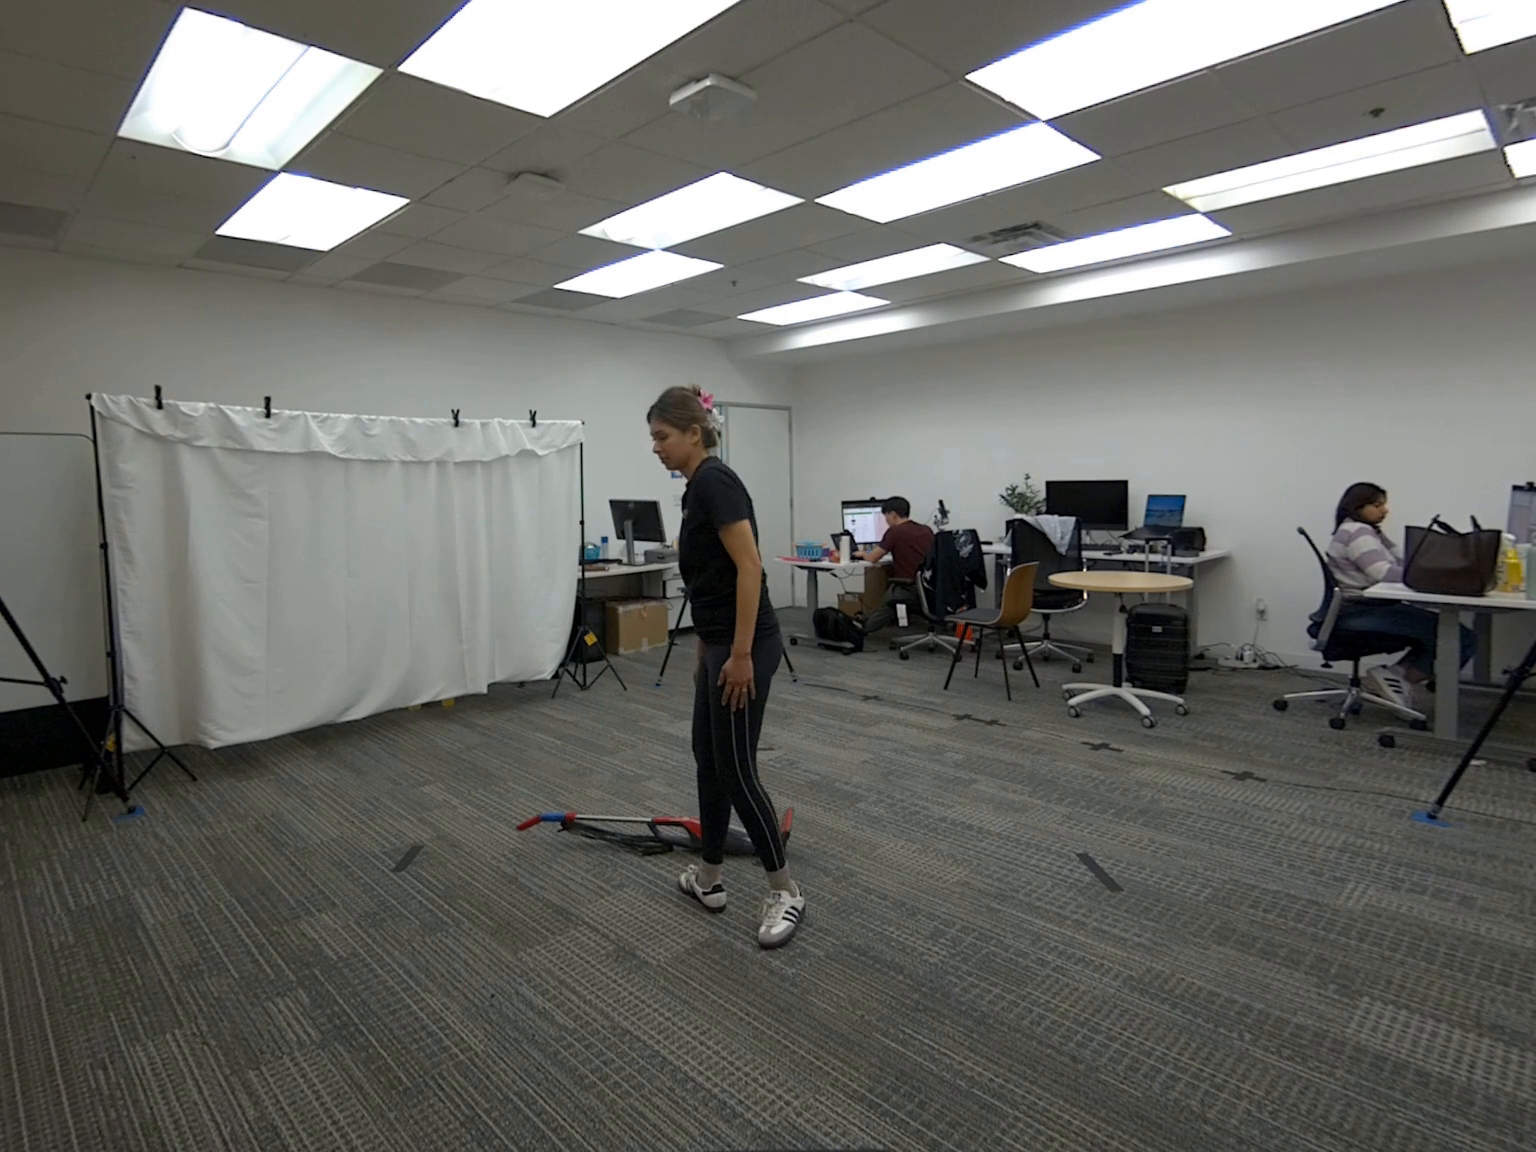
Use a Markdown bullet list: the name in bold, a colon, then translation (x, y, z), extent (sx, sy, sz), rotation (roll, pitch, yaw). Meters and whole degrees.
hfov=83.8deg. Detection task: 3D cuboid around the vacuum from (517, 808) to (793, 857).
- **vacuum**: translation (-0.446, 0.979, 3.241), extent (1.056, 0.144, 0.251), rotation (-1, 2, 6)
